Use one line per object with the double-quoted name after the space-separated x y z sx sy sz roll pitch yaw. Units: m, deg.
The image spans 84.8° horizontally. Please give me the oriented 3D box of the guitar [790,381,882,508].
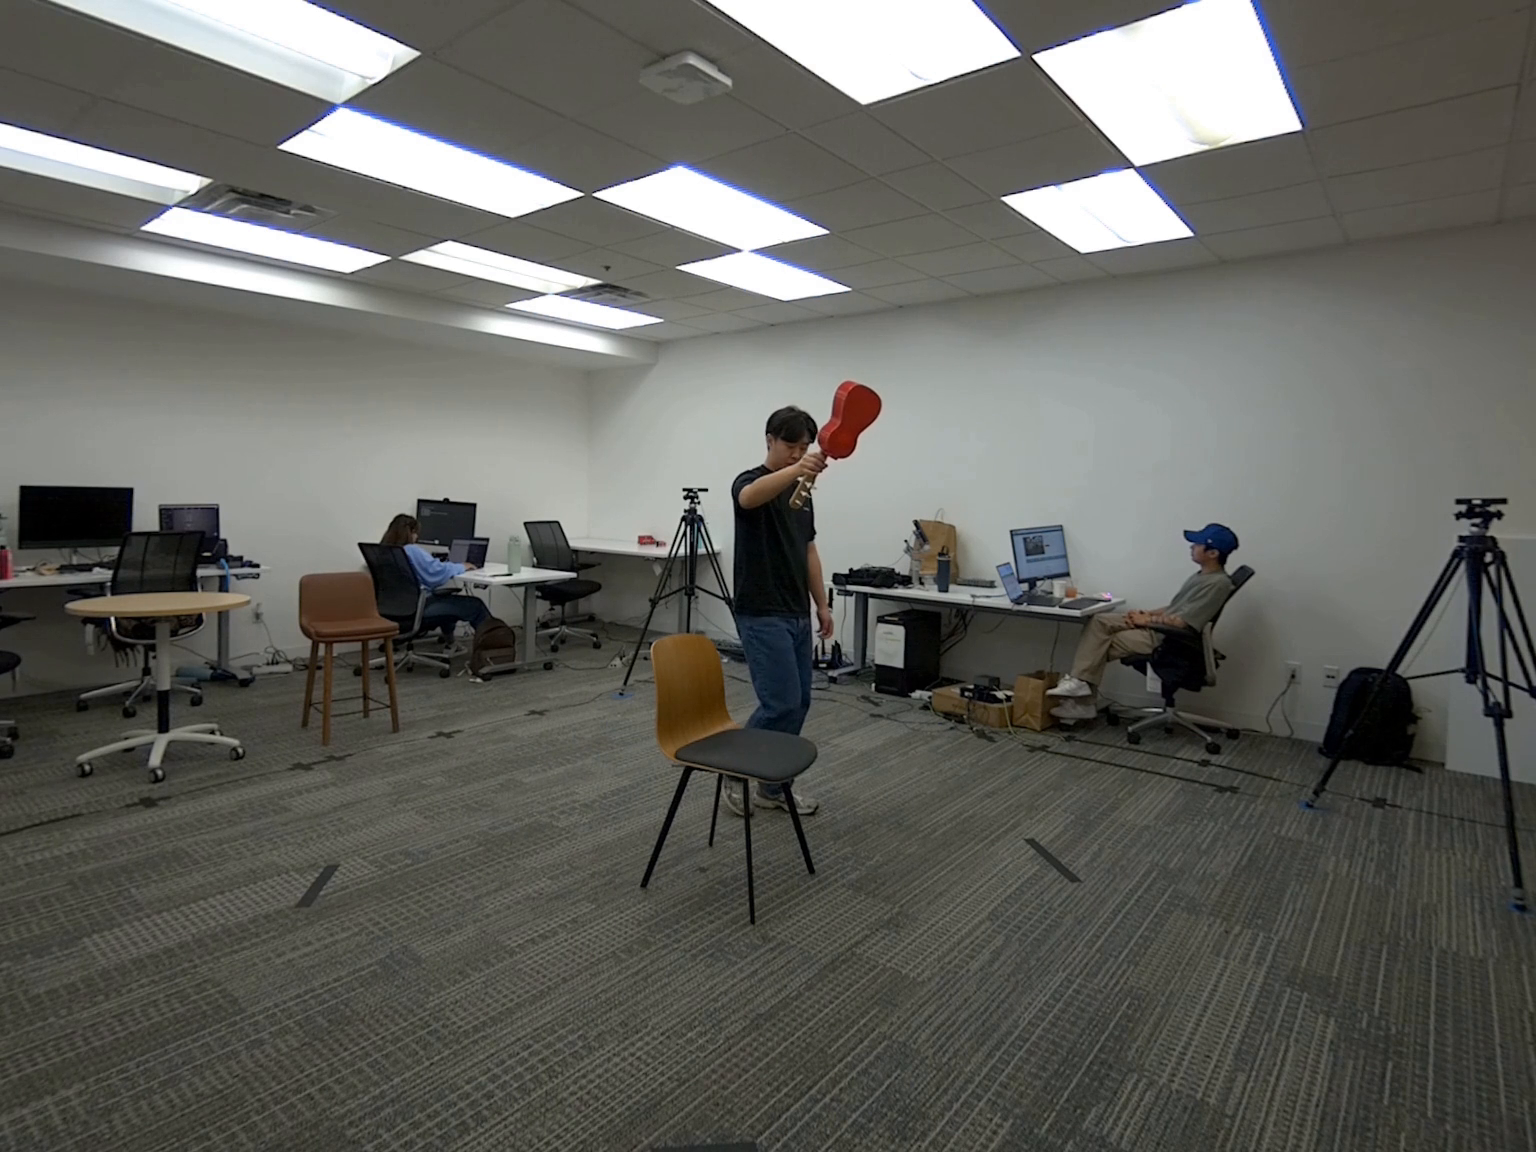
0.238 -0.457 3.072 0.186 0.495 0.074 12 17 -41 "guitar"
